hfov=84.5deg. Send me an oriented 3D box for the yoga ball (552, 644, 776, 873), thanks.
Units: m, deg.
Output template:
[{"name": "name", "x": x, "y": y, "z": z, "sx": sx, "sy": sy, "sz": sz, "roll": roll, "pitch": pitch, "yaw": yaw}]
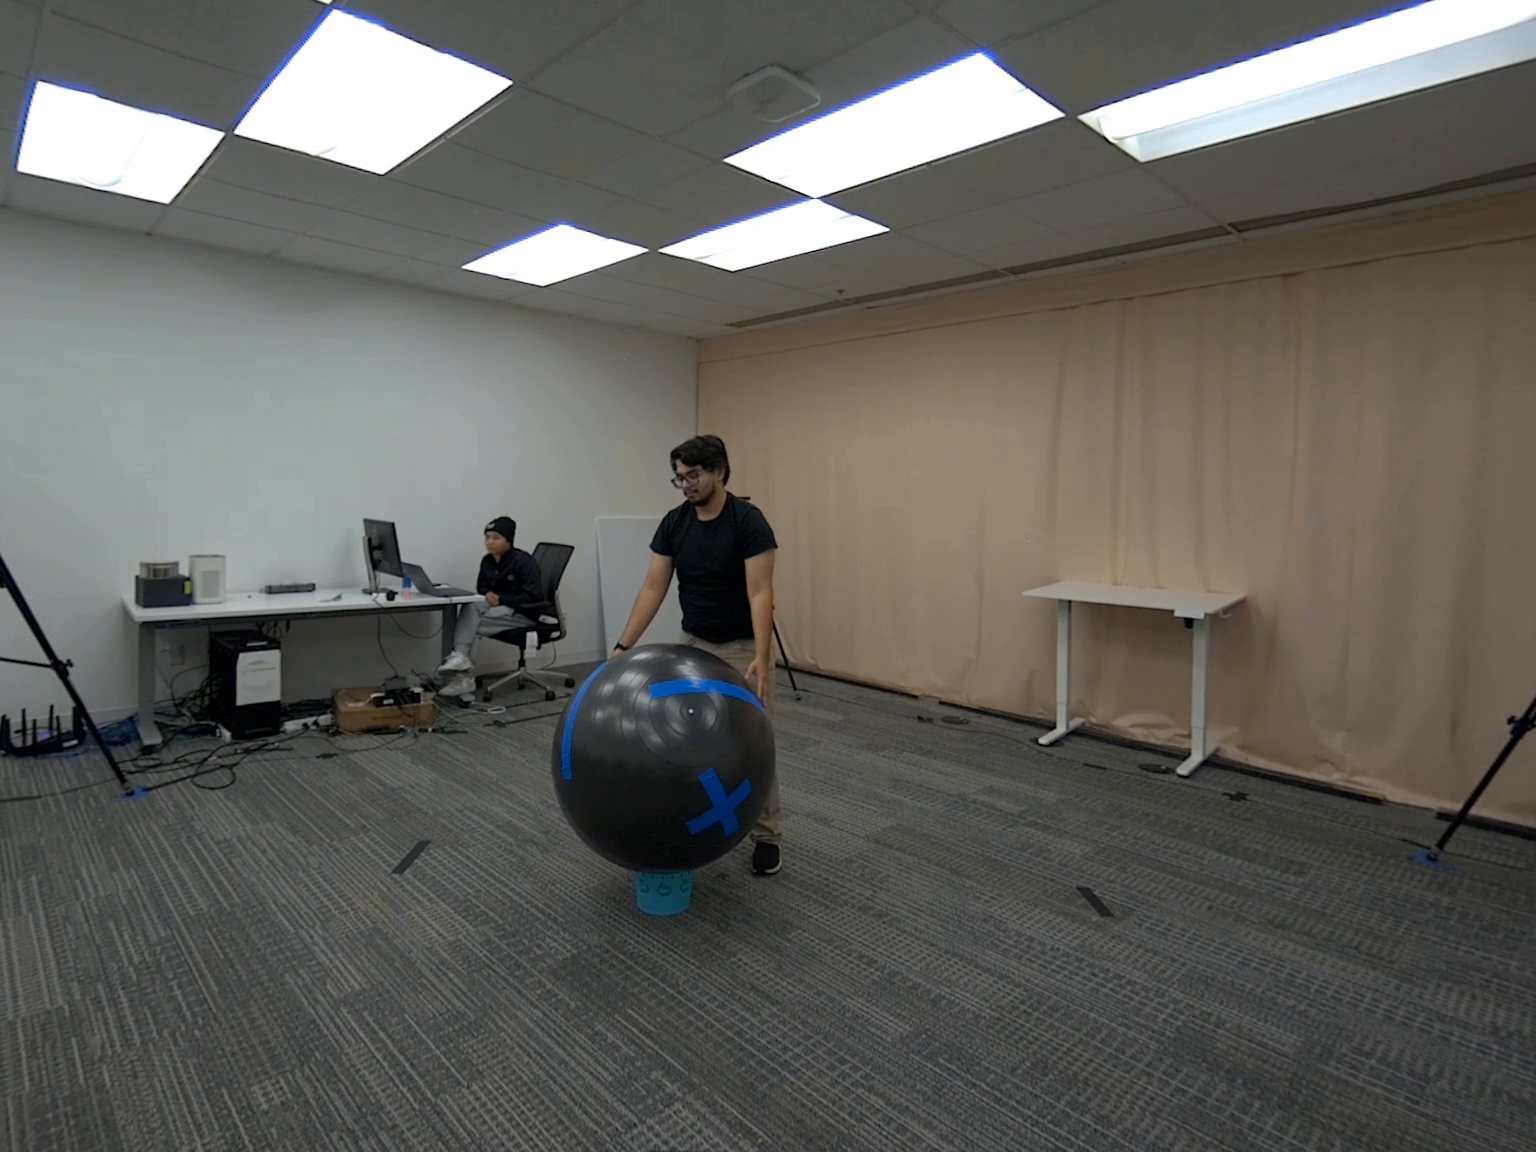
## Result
[{"name": "yoga ball", "x": -0.358, "y": 0.620, "z": 2.856, "sx": 0.757, "sy": 0.756, "sz": 0.761, "roll": 1, "pitch": 4, "yaw": -1}]
